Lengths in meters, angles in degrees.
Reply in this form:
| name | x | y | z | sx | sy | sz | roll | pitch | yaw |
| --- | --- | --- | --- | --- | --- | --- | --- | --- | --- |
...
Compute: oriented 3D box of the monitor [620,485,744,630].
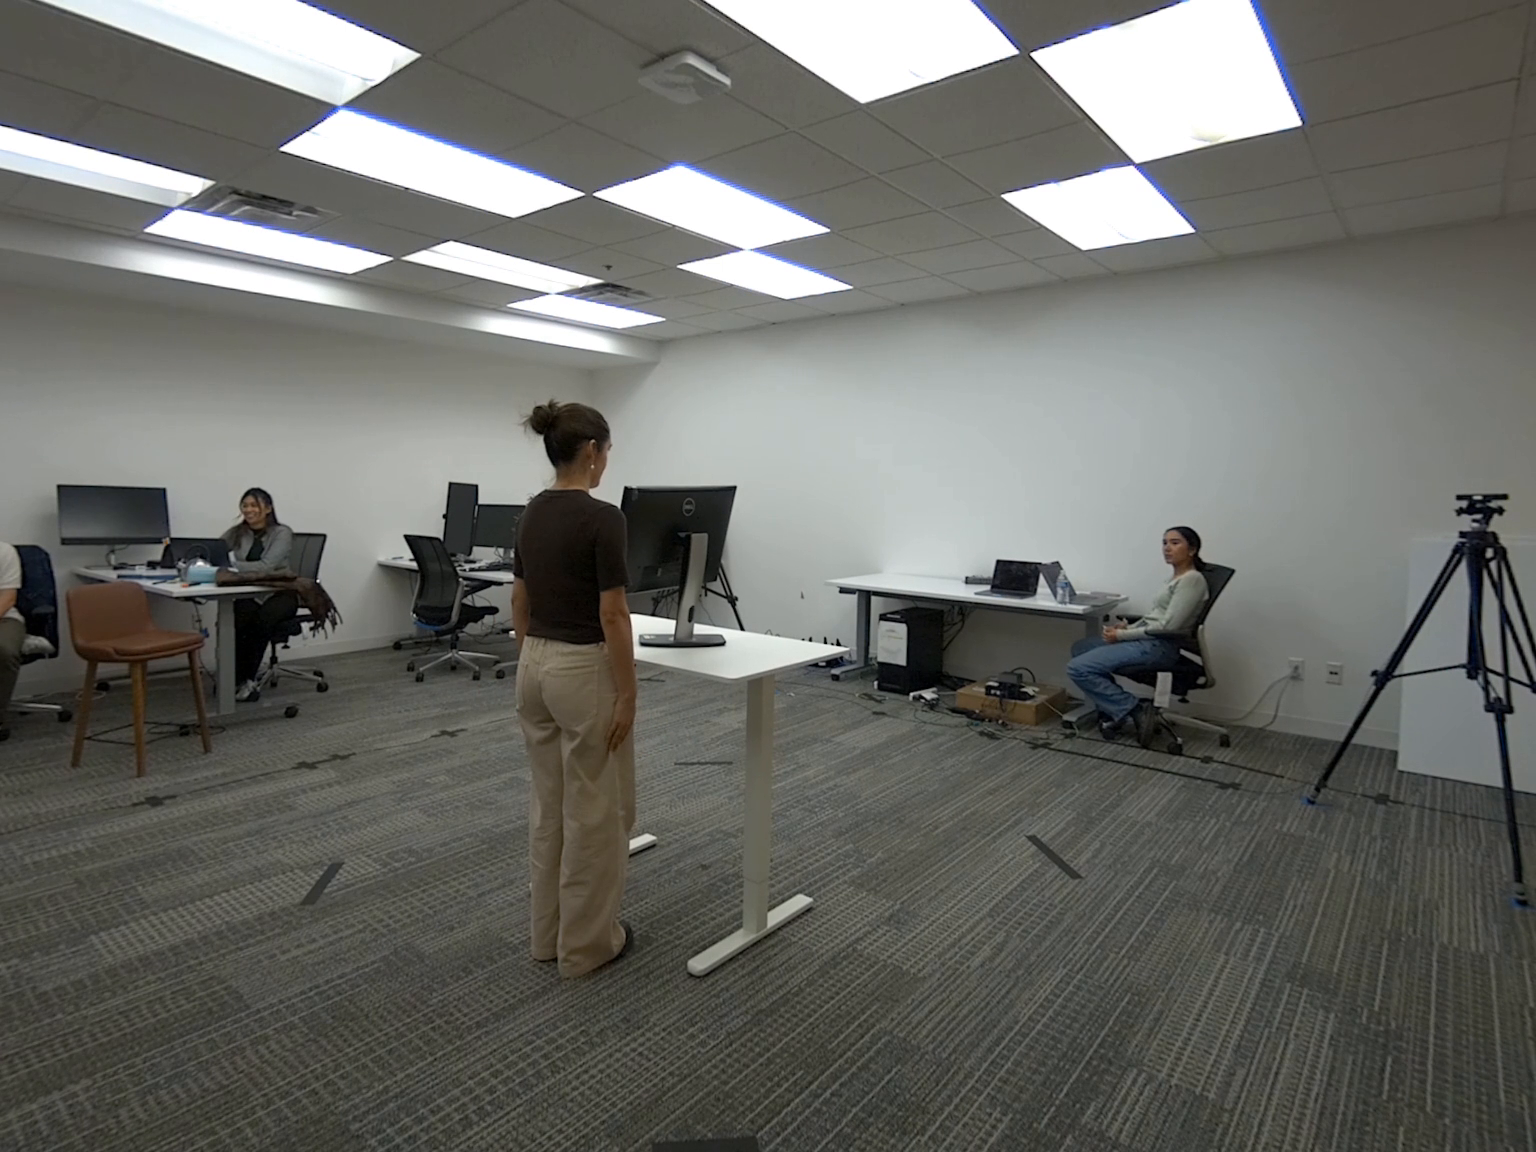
| name | x | y | z | sx | sy | sz | roll | pitch | yaw |
| --- | --- | --- | --- | --- | --- | --- | --- | --- | --- |
| monitor | -0.296 | -0.034 | 2.747 | 0.193 | 0.520 | 0.525 | 2 | 6 | 33 |
